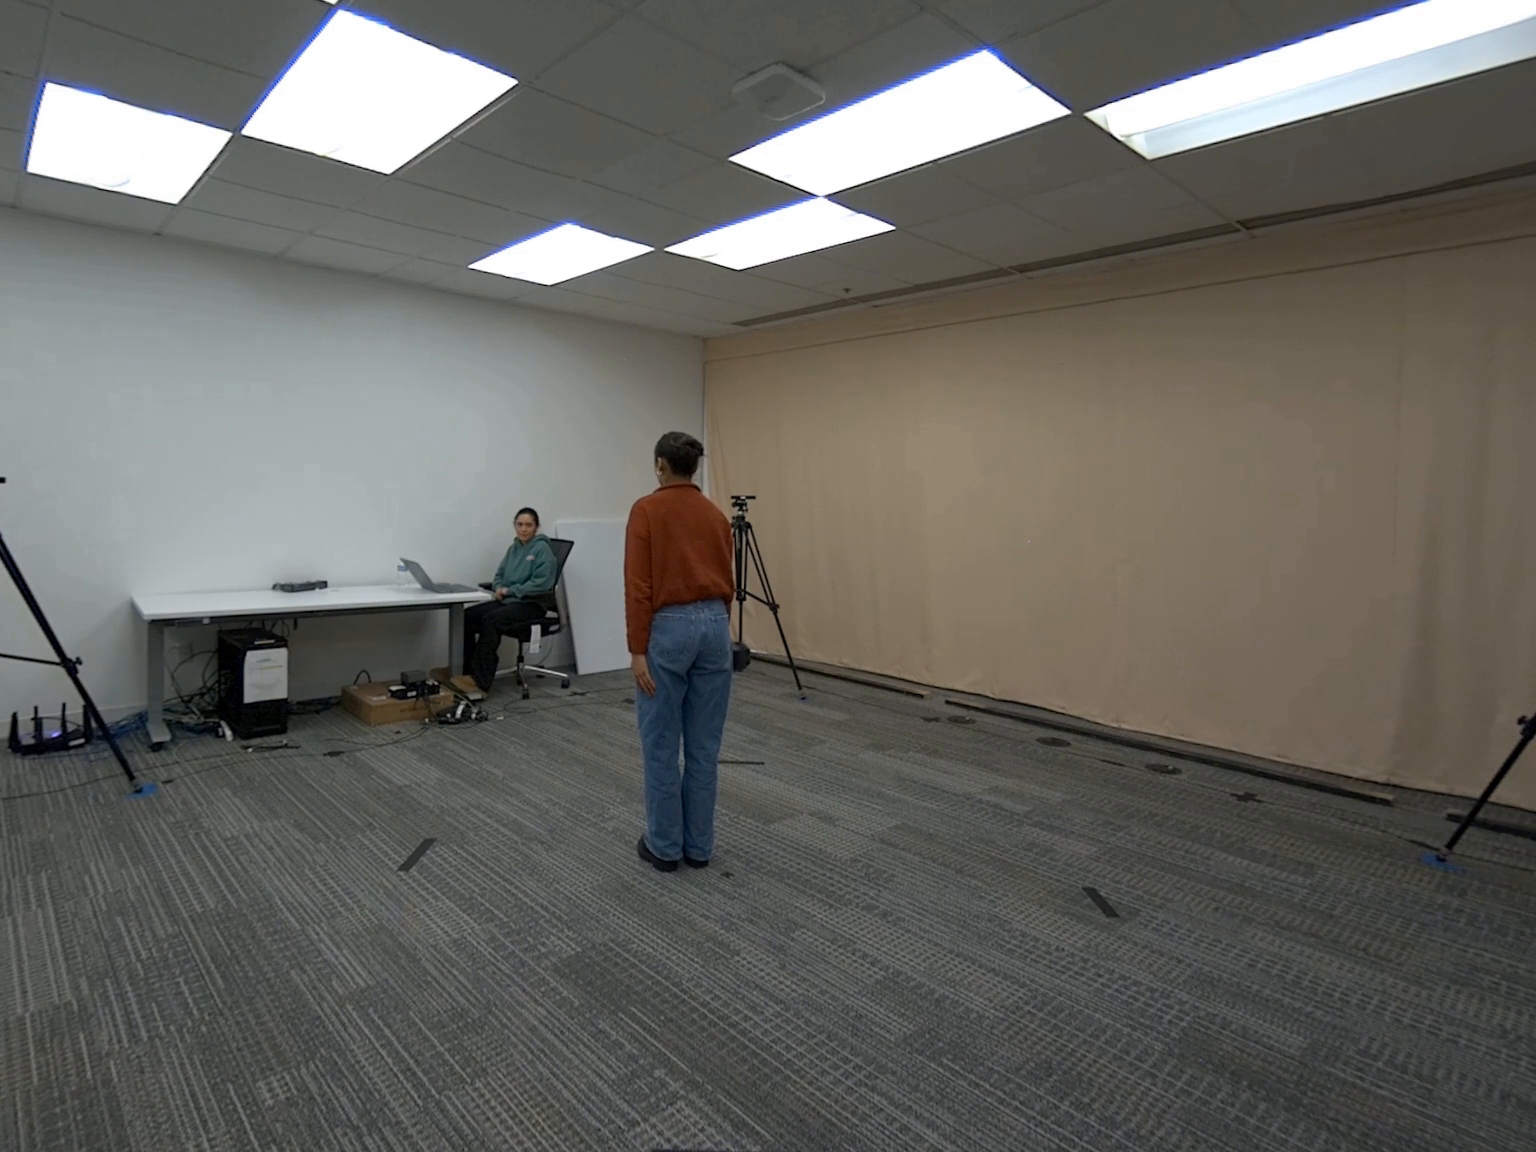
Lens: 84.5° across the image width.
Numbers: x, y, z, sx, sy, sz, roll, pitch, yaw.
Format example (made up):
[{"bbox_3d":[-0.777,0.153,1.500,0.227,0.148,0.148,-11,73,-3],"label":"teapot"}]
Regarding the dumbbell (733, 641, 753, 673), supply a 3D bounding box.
[{"bbox_3d":[-0.217,0.332,3.455,0.287,0.123,0.111,1,-4,-36],"label":"dumbbell"}]
